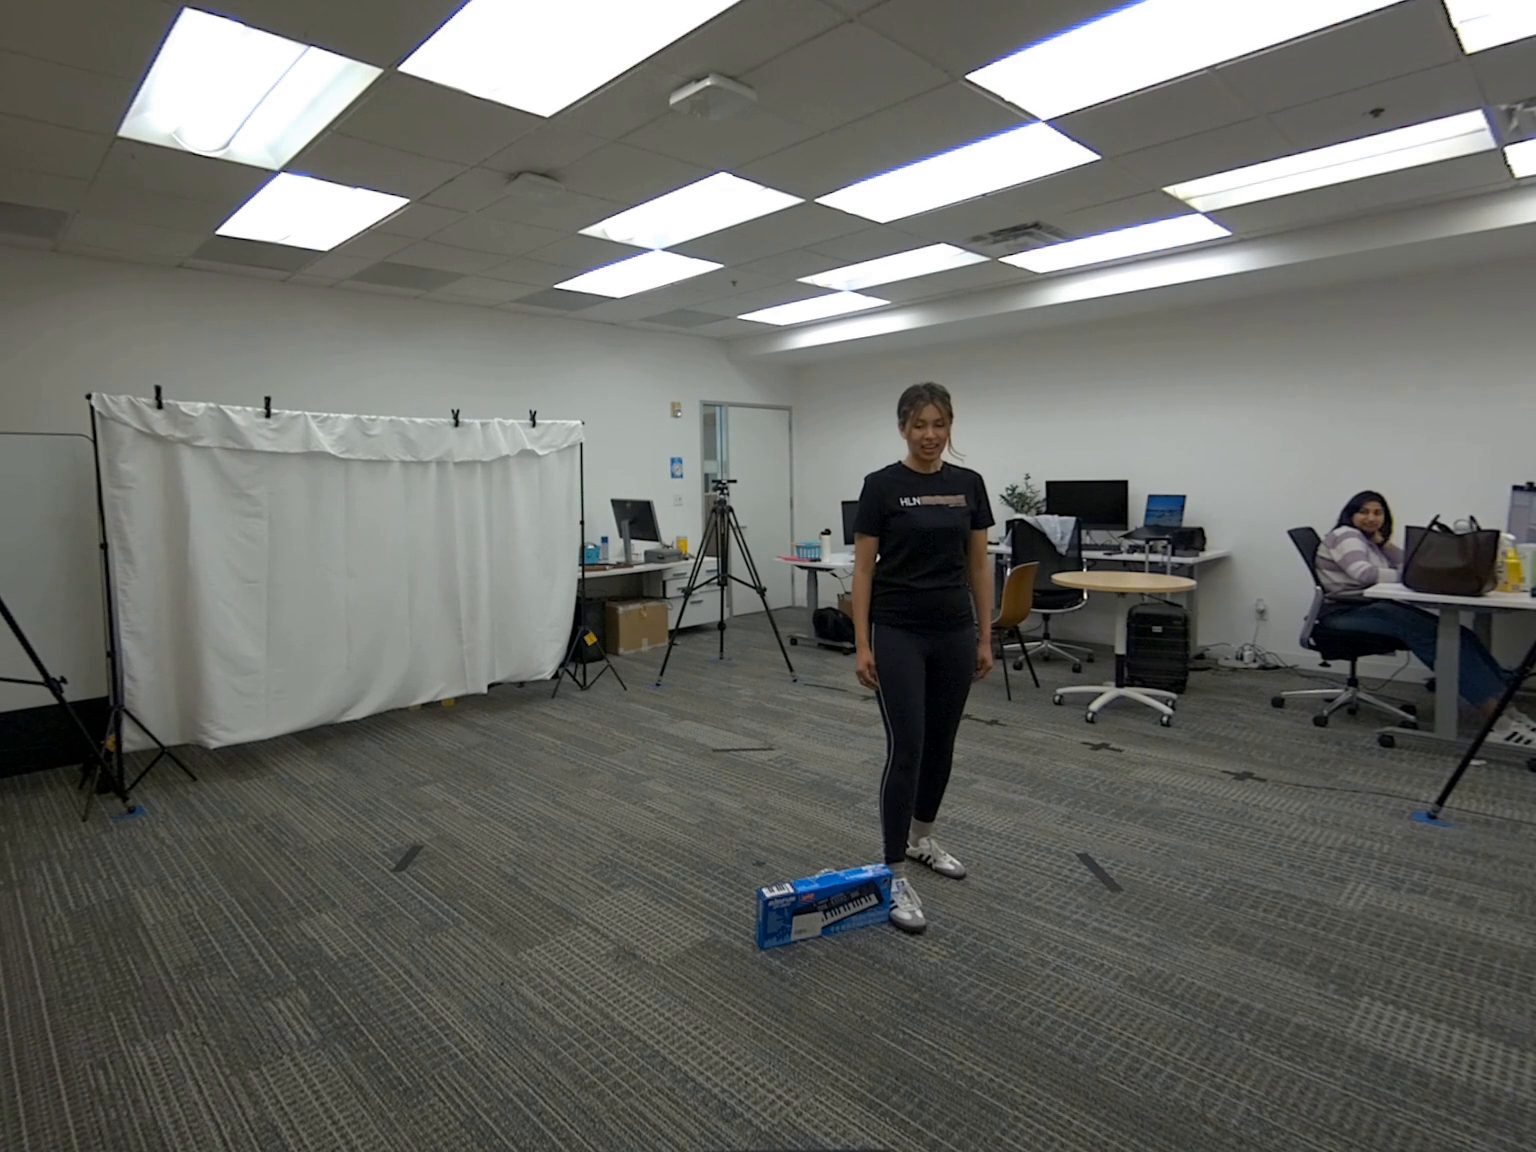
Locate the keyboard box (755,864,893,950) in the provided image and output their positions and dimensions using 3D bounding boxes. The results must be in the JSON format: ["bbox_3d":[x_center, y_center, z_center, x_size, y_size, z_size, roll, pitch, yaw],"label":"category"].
[{"bbox_3d":[0.181,1.013,2.619,0.429,0.174,0.061,-3,13,-21],"label":"keyboard box"}]
